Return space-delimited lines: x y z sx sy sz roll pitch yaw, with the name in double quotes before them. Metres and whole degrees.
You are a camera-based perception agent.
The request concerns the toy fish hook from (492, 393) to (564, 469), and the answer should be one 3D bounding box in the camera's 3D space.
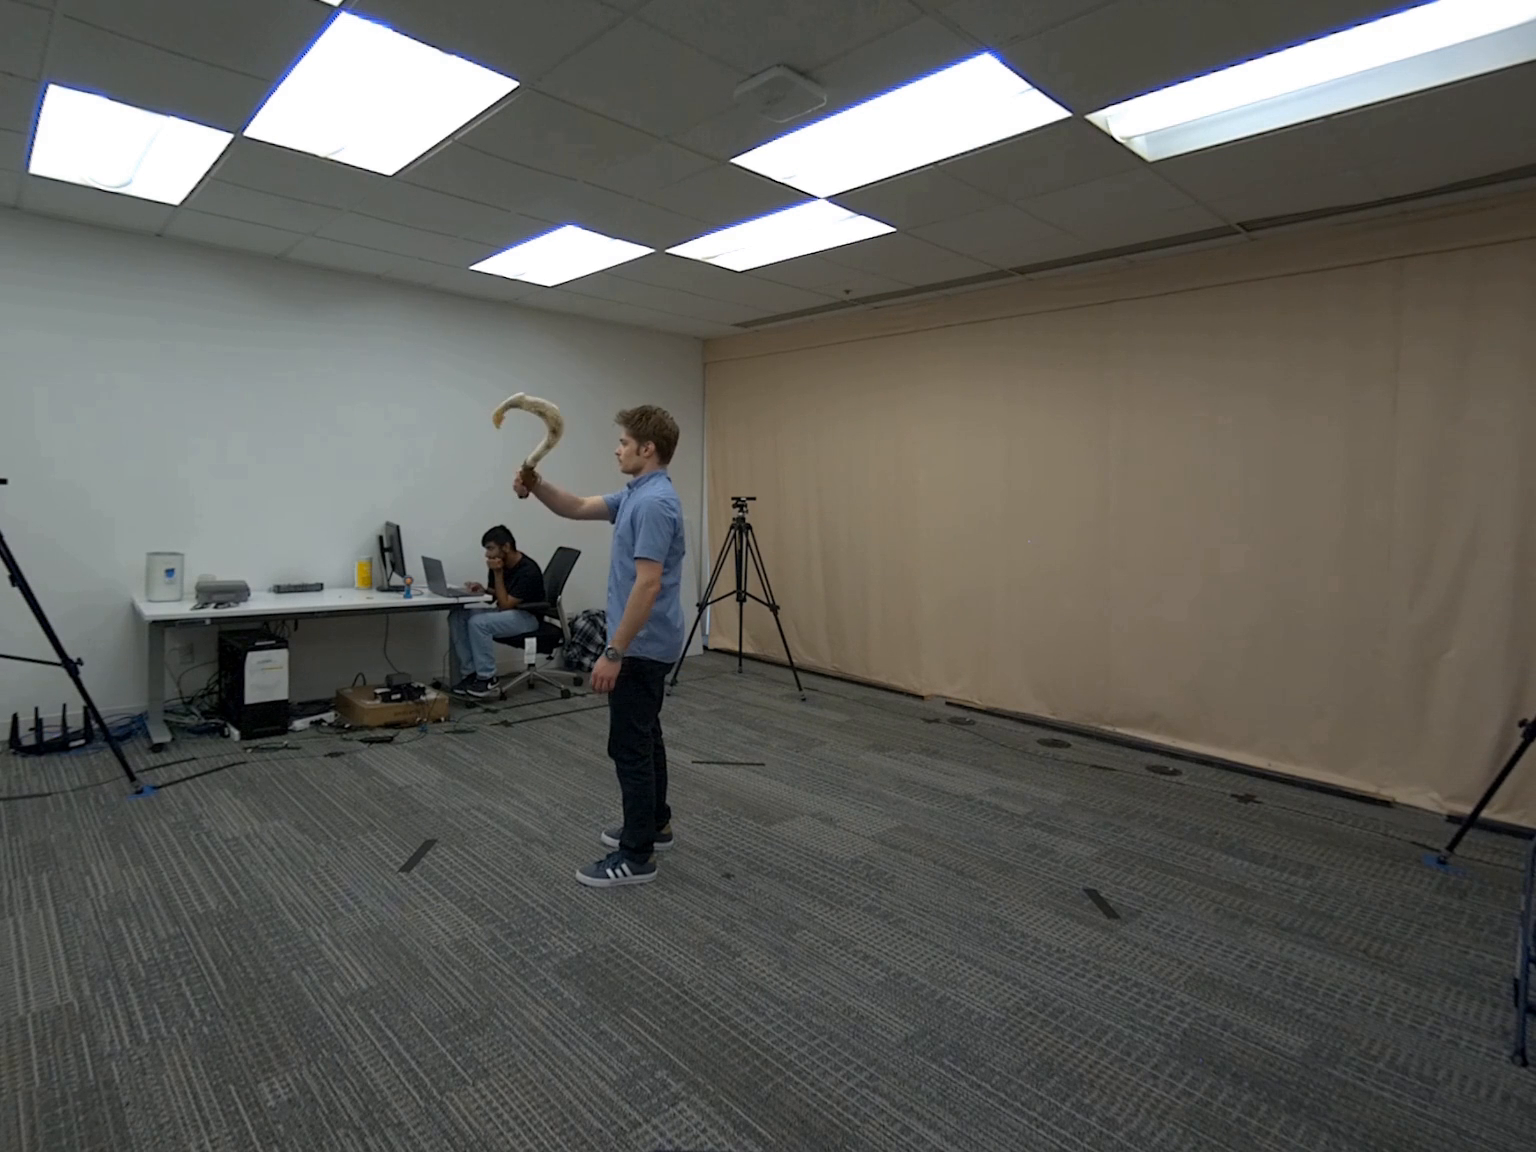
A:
"toy fish hook" -0.852 -0.399 2.787 0.222 0.049 0.504 20 -39 -12
